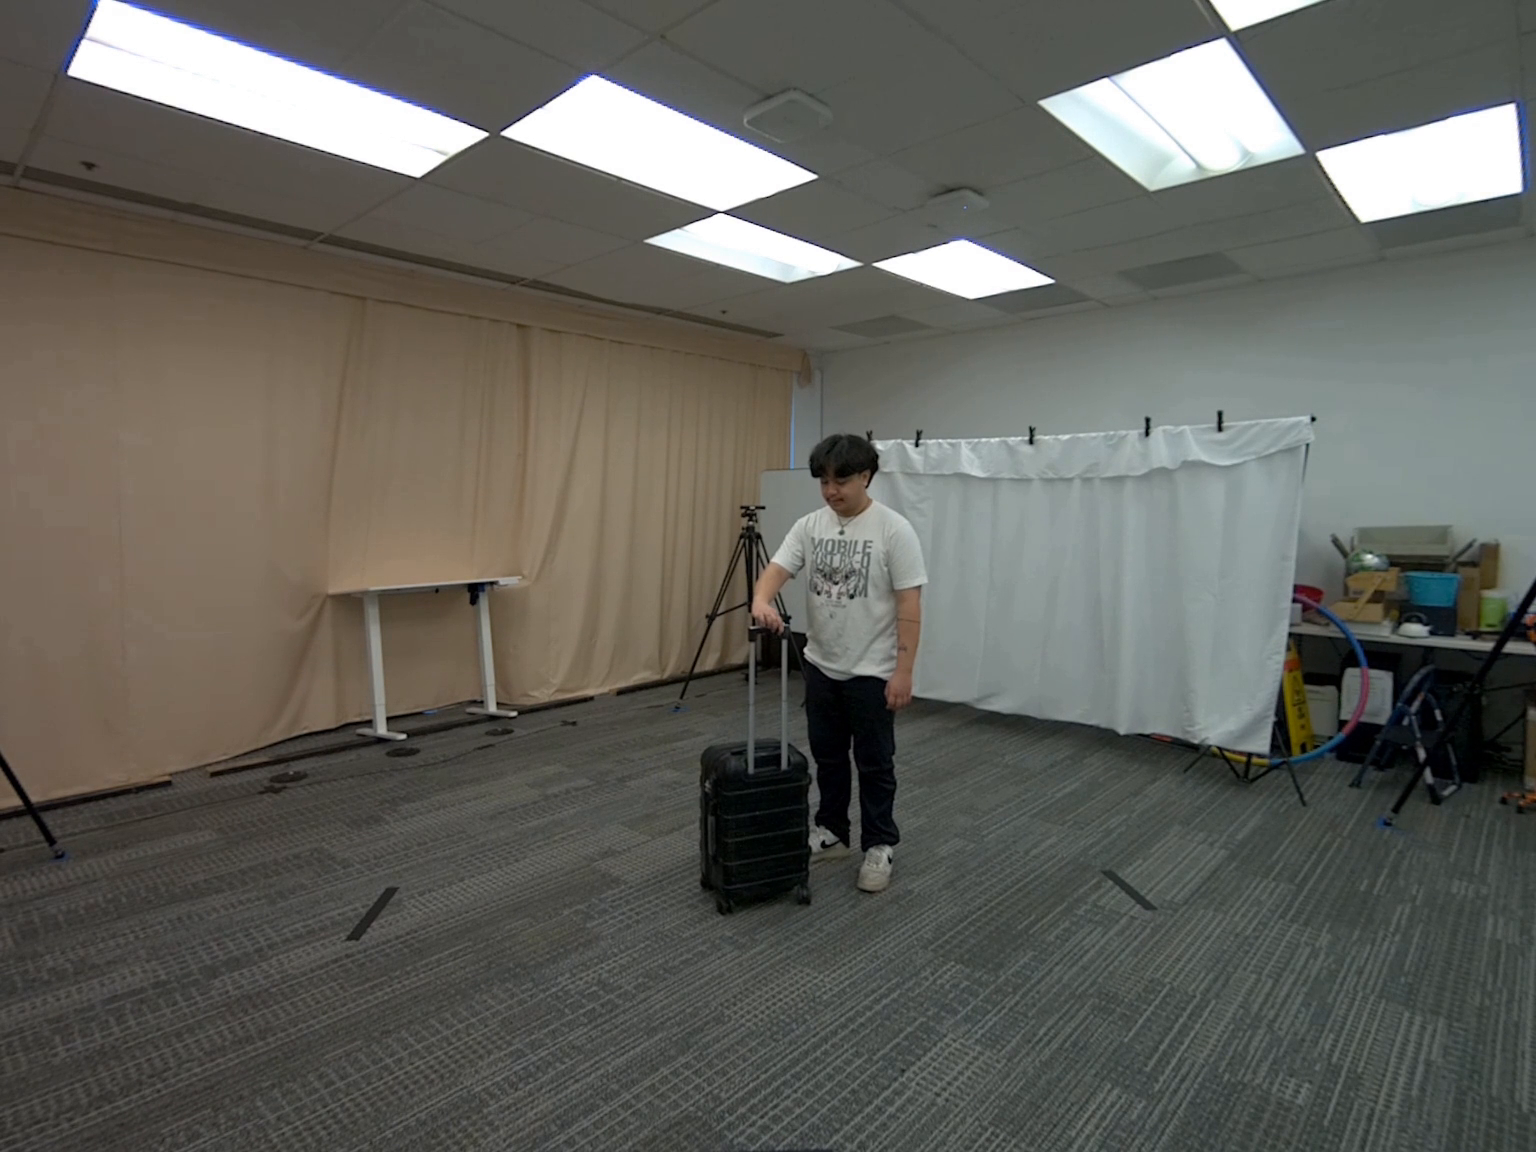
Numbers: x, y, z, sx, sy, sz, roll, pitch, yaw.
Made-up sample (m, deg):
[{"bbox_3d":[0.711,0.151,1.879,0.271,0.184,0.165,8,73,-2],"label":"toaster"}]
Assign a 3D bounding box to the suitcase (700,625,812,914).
[{"bbox_3d":[-0.045,0.670,2.988,0.377,0.978,0.262,0,1,-19],"label":"suitcase"}]
